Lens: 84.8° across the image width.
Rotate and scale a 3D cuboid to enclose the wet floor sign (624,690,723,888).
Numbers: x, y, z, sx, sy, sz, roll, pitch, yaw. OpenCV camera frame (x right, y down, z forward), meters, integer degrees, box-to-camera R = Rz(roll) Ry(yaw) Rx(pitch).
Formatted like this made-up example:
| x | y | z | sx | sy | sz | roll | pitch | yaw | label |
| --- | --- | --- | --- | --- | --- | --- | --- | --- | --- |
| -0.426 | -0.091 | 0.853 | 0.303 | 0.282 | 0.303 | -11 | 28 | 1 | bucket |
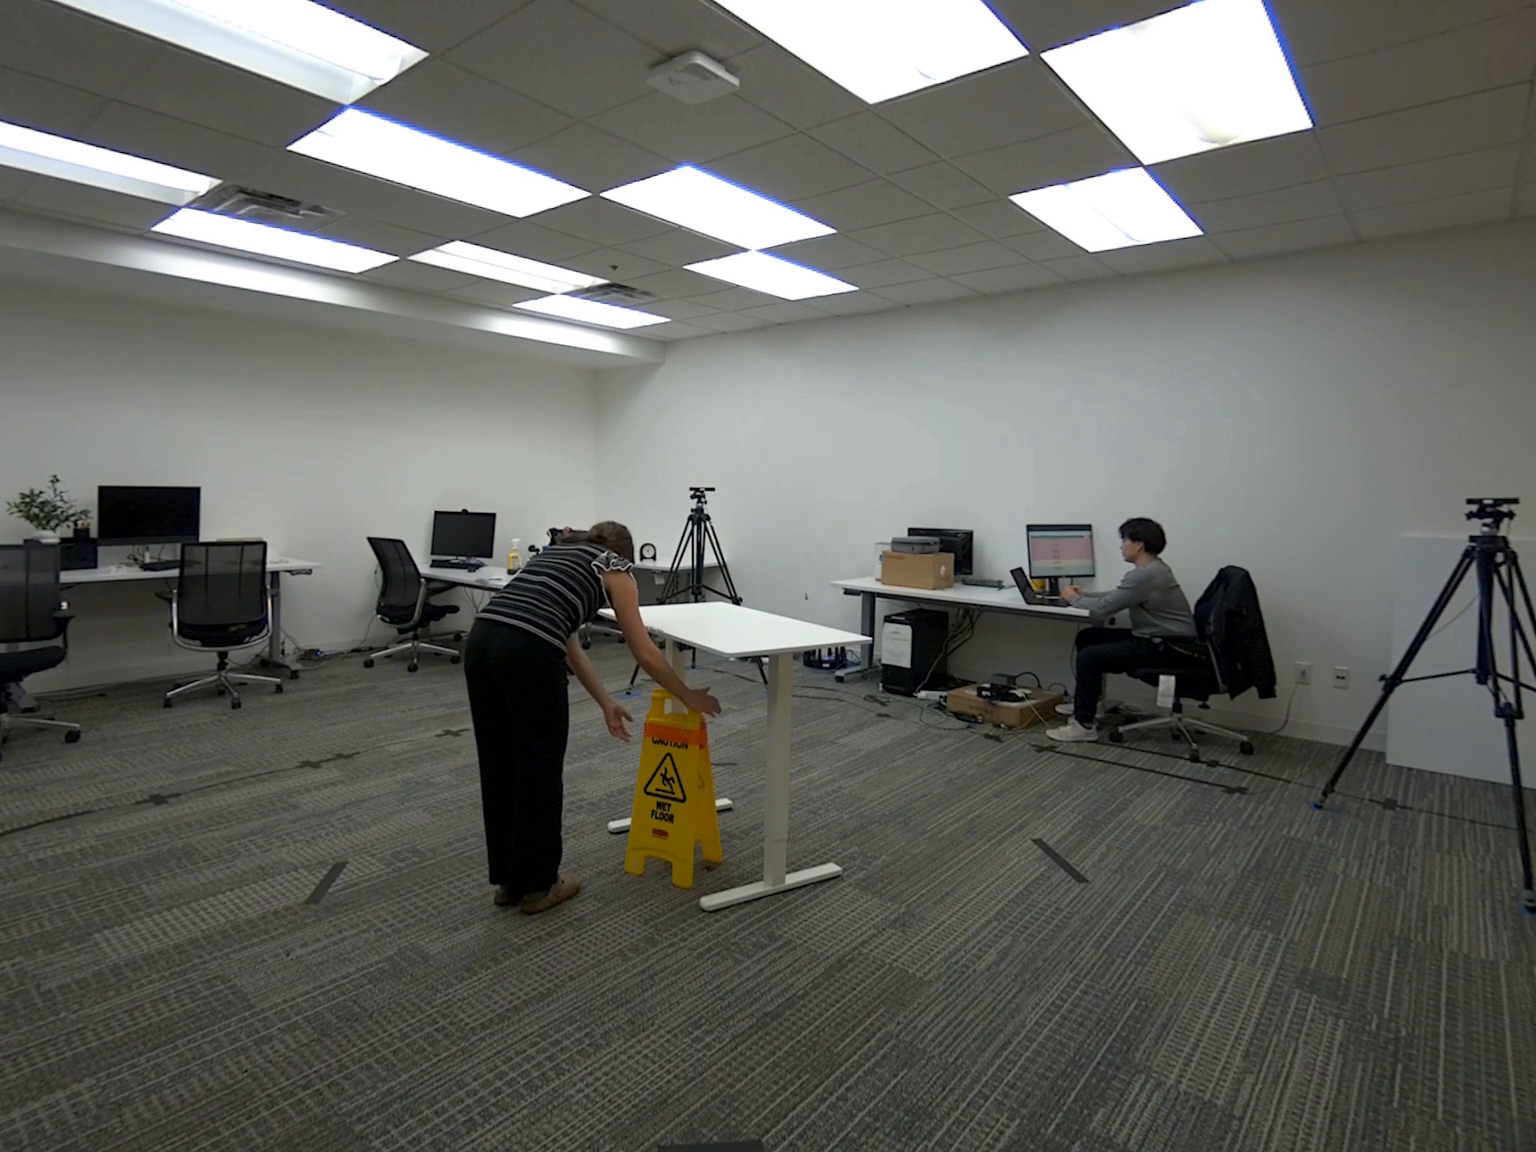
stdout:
| x | y | z | sx | sy | sz | roll | pitch | yaw | label |
| --- | --- | --- | --- | --- | --- | --- | --- | --- | --- |
| -0.350 | 0.741 | 3.103 | 0.290 | 0.645 | 0.282 | 3 | 3 | 27 | wet floor sign |
